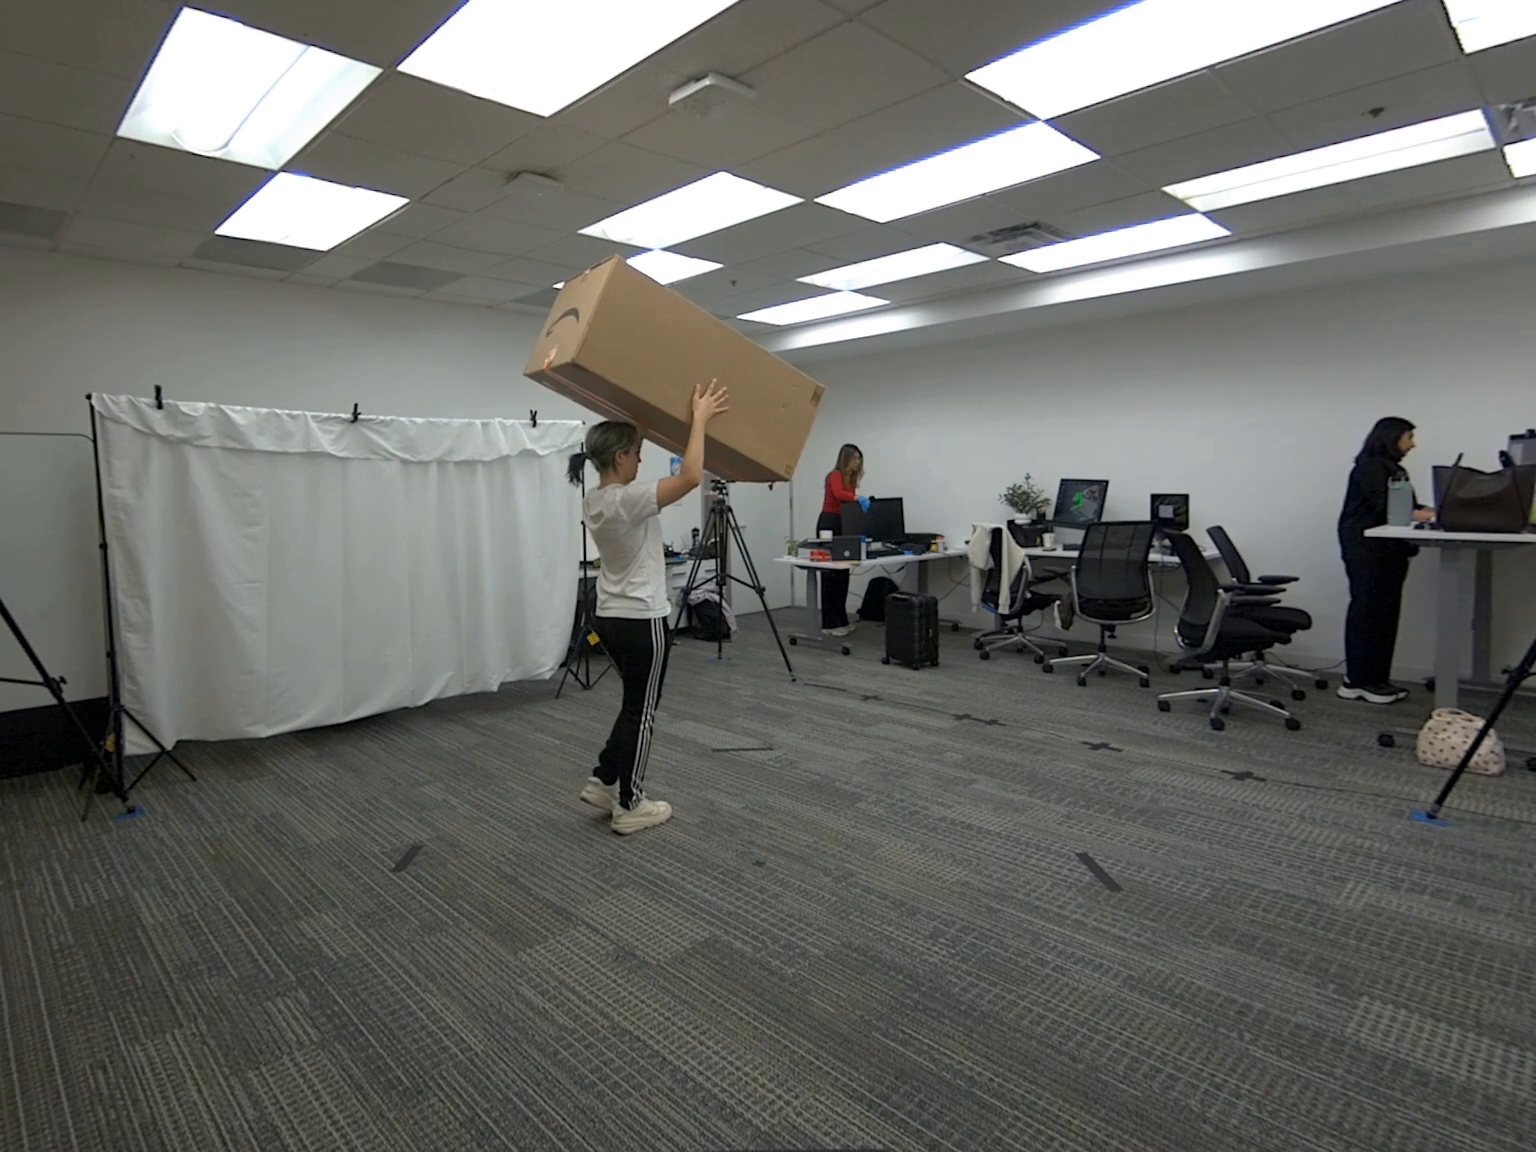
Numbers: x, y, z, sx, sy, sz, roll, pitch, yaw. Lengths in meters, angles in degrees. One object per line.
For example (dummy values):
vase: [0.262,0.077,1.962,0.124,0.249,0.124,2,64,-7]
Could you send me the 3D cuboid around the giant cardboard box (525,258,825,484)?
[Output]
giant cardboard box: [-0.374,-0.784,3.468,0.994,0.449,0.600,26,-9,-30]
